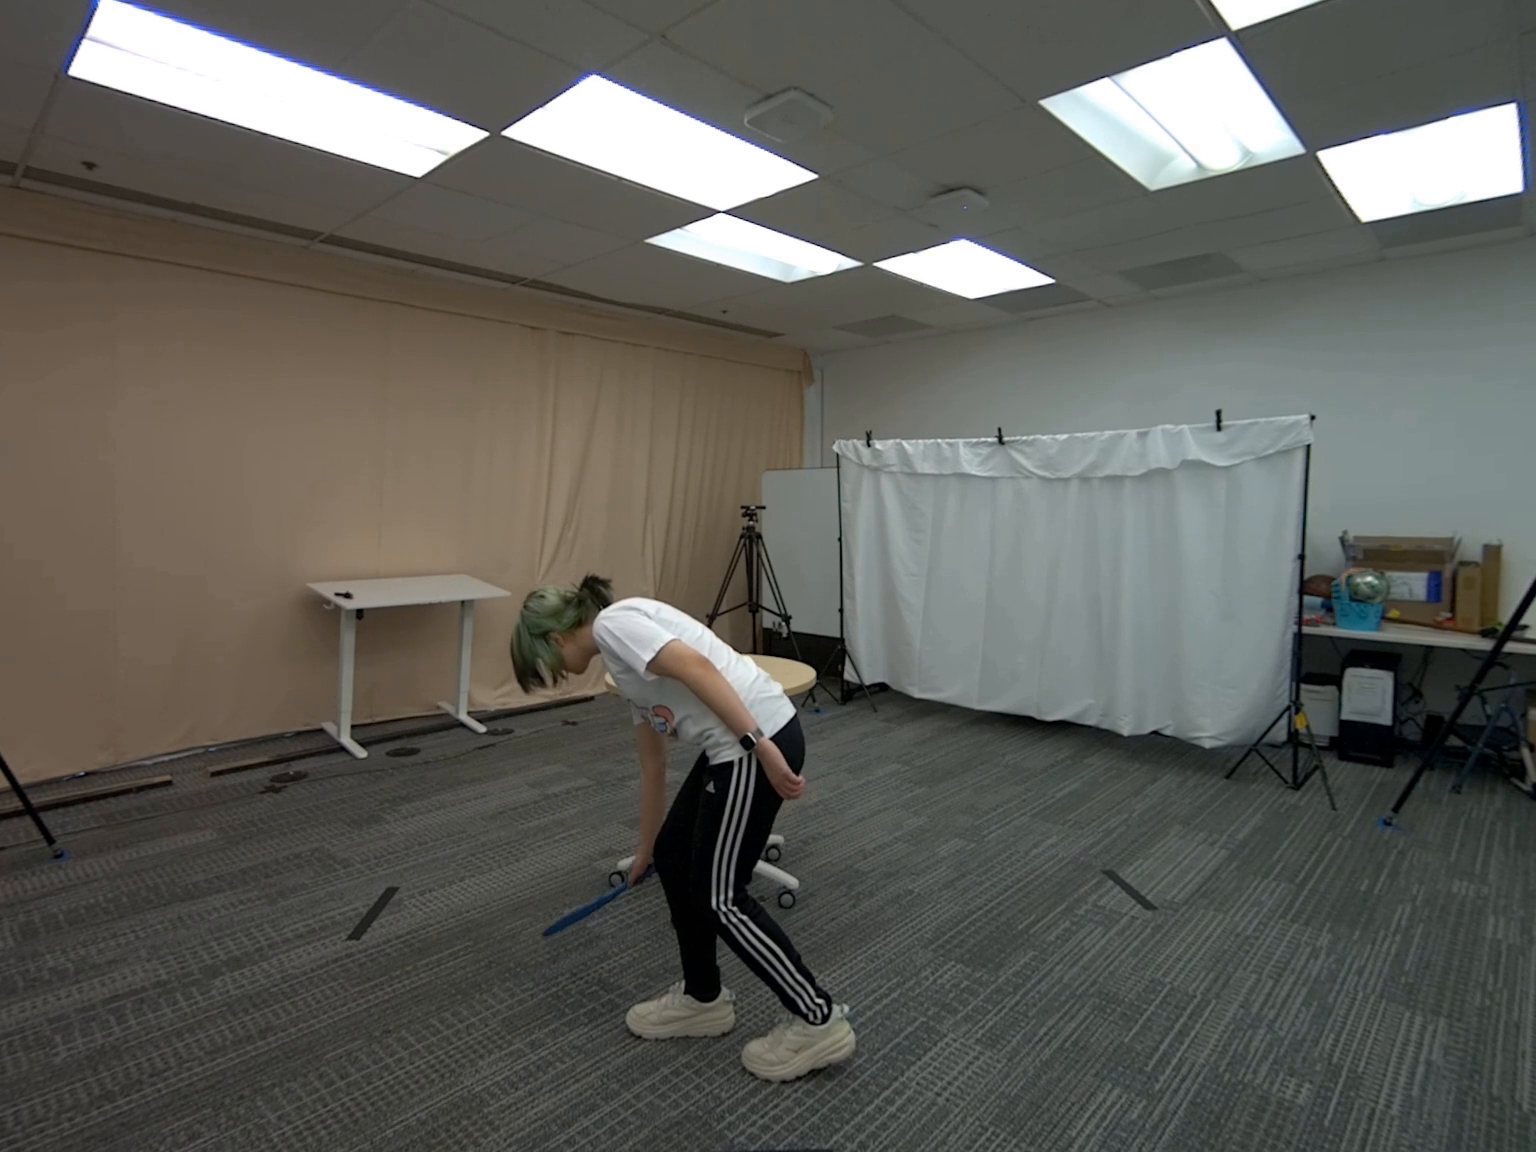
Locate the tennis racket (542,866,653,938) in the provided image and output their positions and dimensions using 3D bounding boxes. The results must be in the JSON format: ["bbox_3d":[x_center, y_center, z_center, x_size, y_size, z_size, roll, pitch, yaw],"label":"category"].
[{"bbox_3d":[-0.487,0.937,2.444,0.436,0.032,0.207,-36,-21,13],"label":"tennis racket"}]
